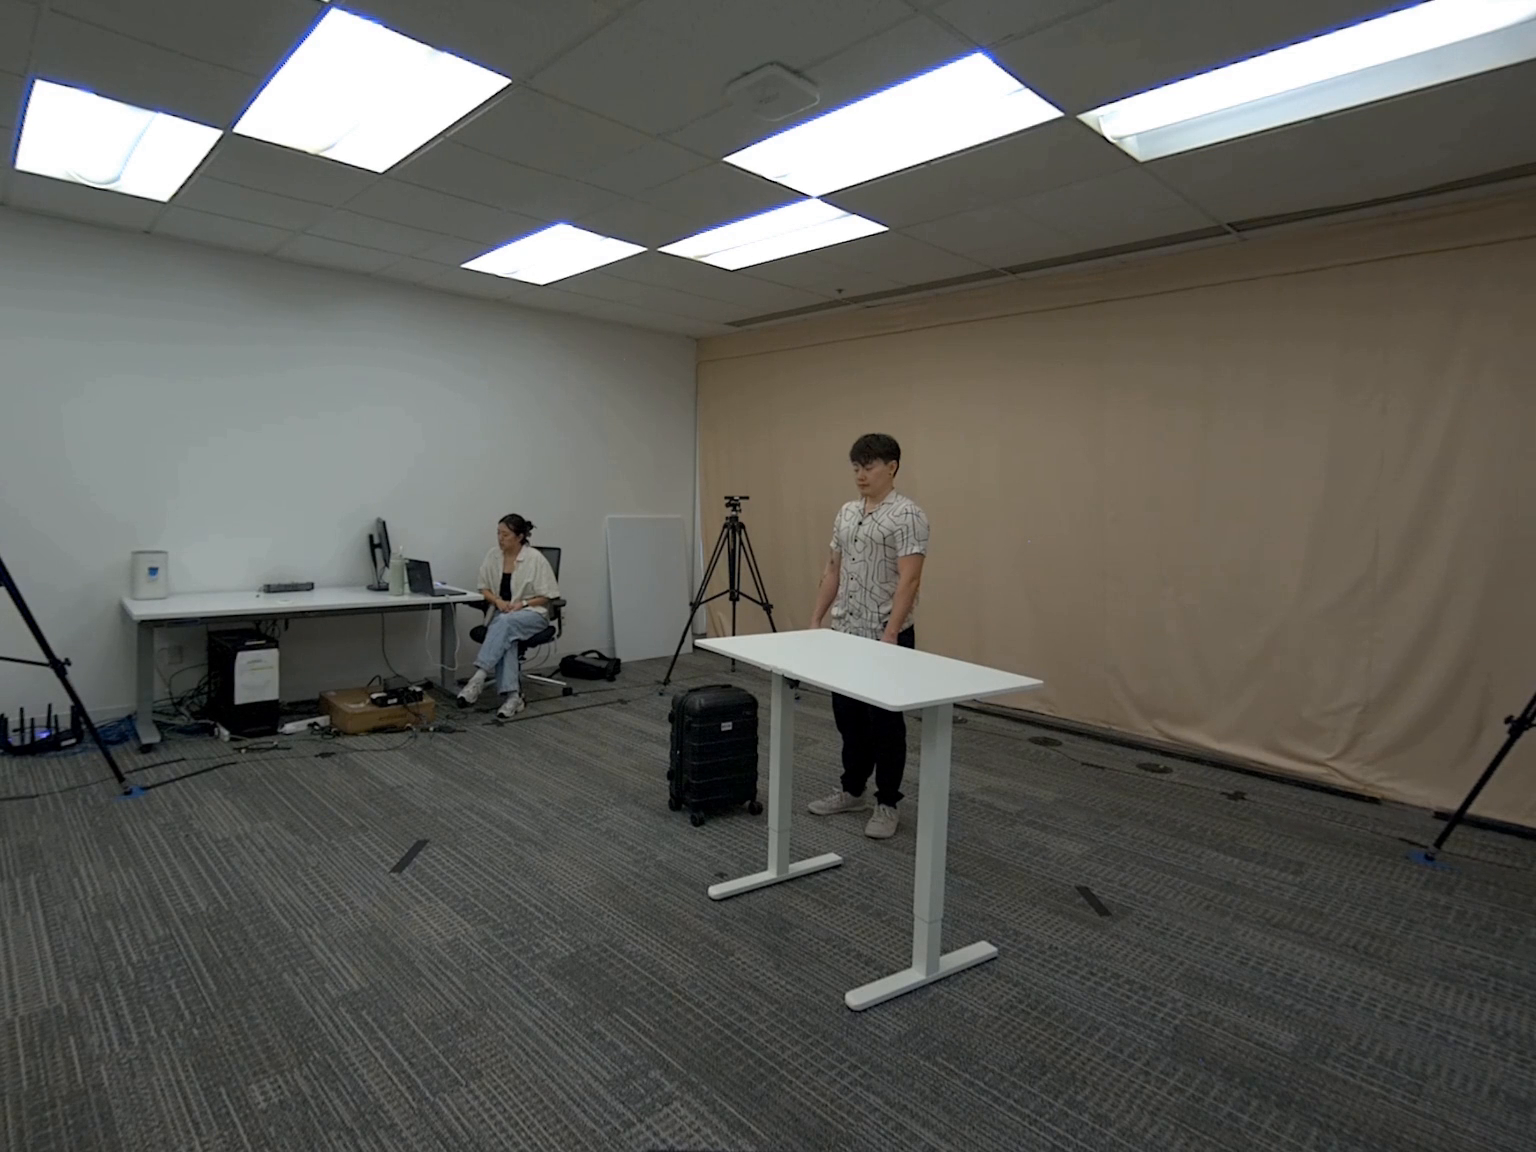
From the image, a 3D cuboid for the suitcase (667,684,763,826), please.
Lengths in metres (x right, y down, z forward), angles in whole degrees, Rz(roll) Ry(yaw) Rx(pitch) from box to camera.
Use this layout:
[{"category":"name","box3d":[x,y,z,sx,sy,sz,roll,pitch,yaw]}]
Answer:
[{"category":"suitcase","box3d":[-0.249,0.766,3.741,0.367,0.548,0.254,-1,4,-34]}]
